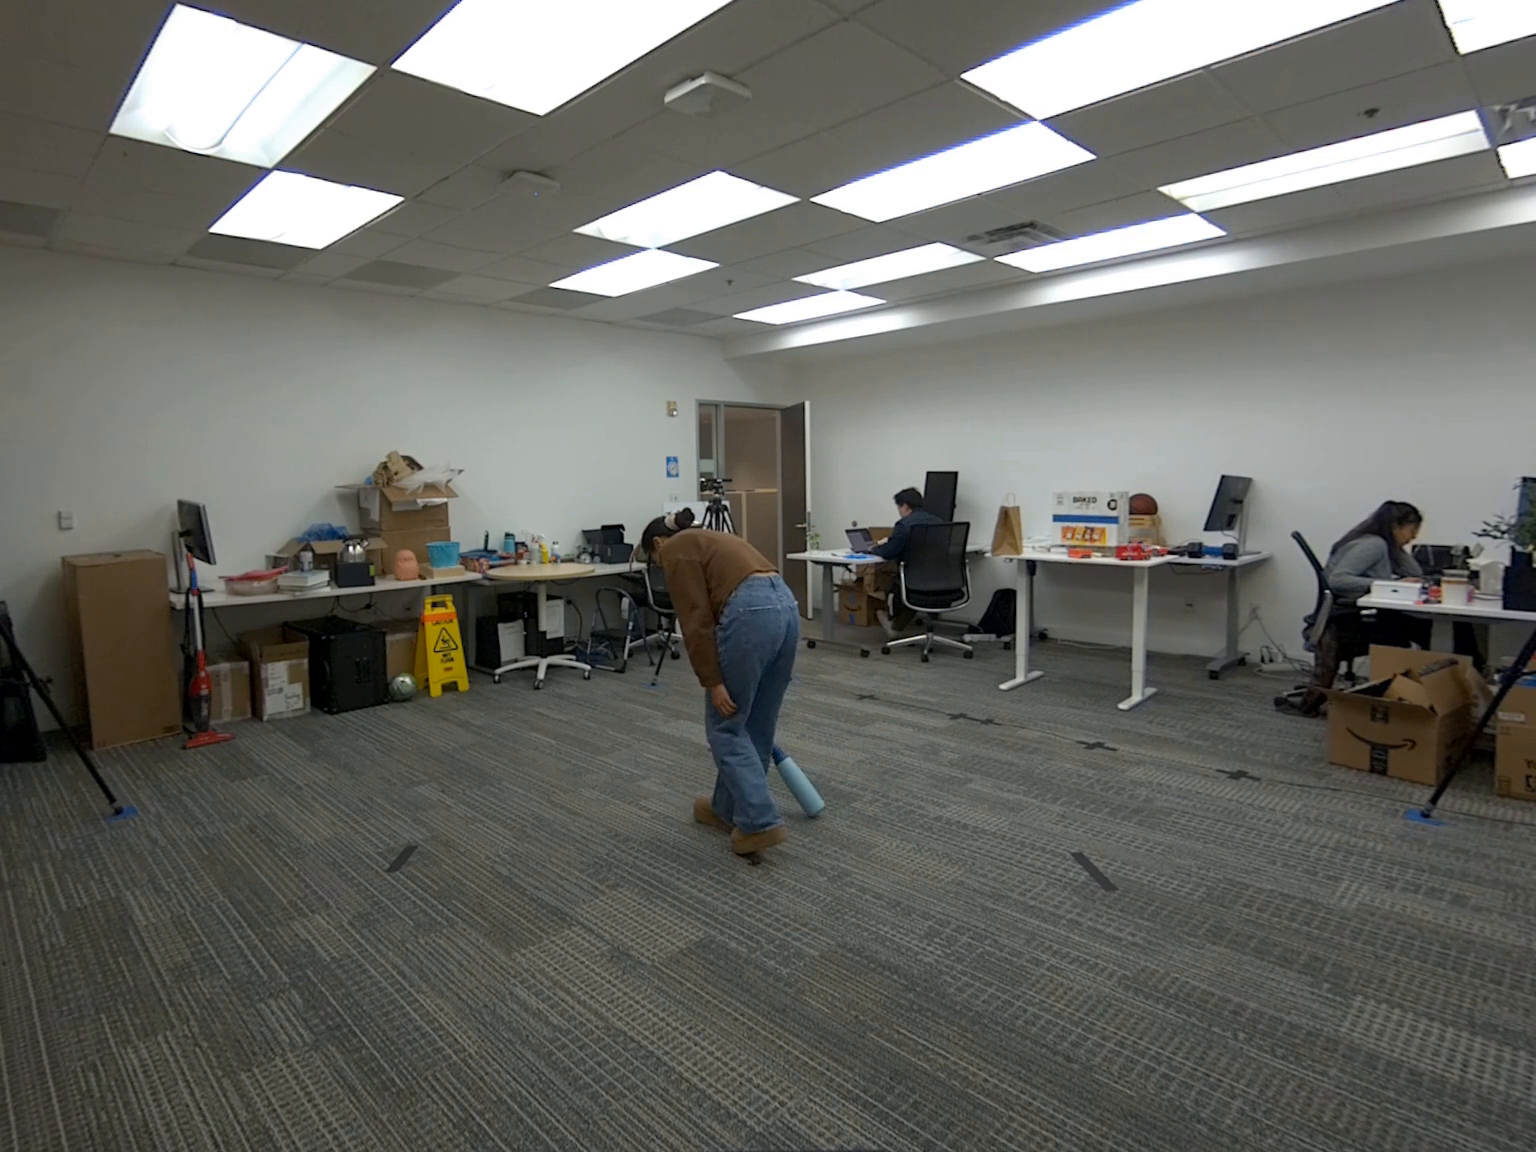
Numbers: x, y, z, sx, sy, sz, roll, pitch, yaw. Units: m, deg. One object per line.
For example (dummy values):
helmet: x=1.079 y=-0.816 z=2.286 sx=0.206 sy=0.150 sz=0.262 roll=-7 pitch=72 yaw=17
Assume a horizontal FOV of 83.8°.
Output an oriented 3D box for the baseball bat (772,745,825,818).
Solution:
baseball bat: x=0.051 y=0.765 z=3.594 sx=0.088 sy=0.555 sz=0.087 roll=-33 pitch=-18 yaw=-13
